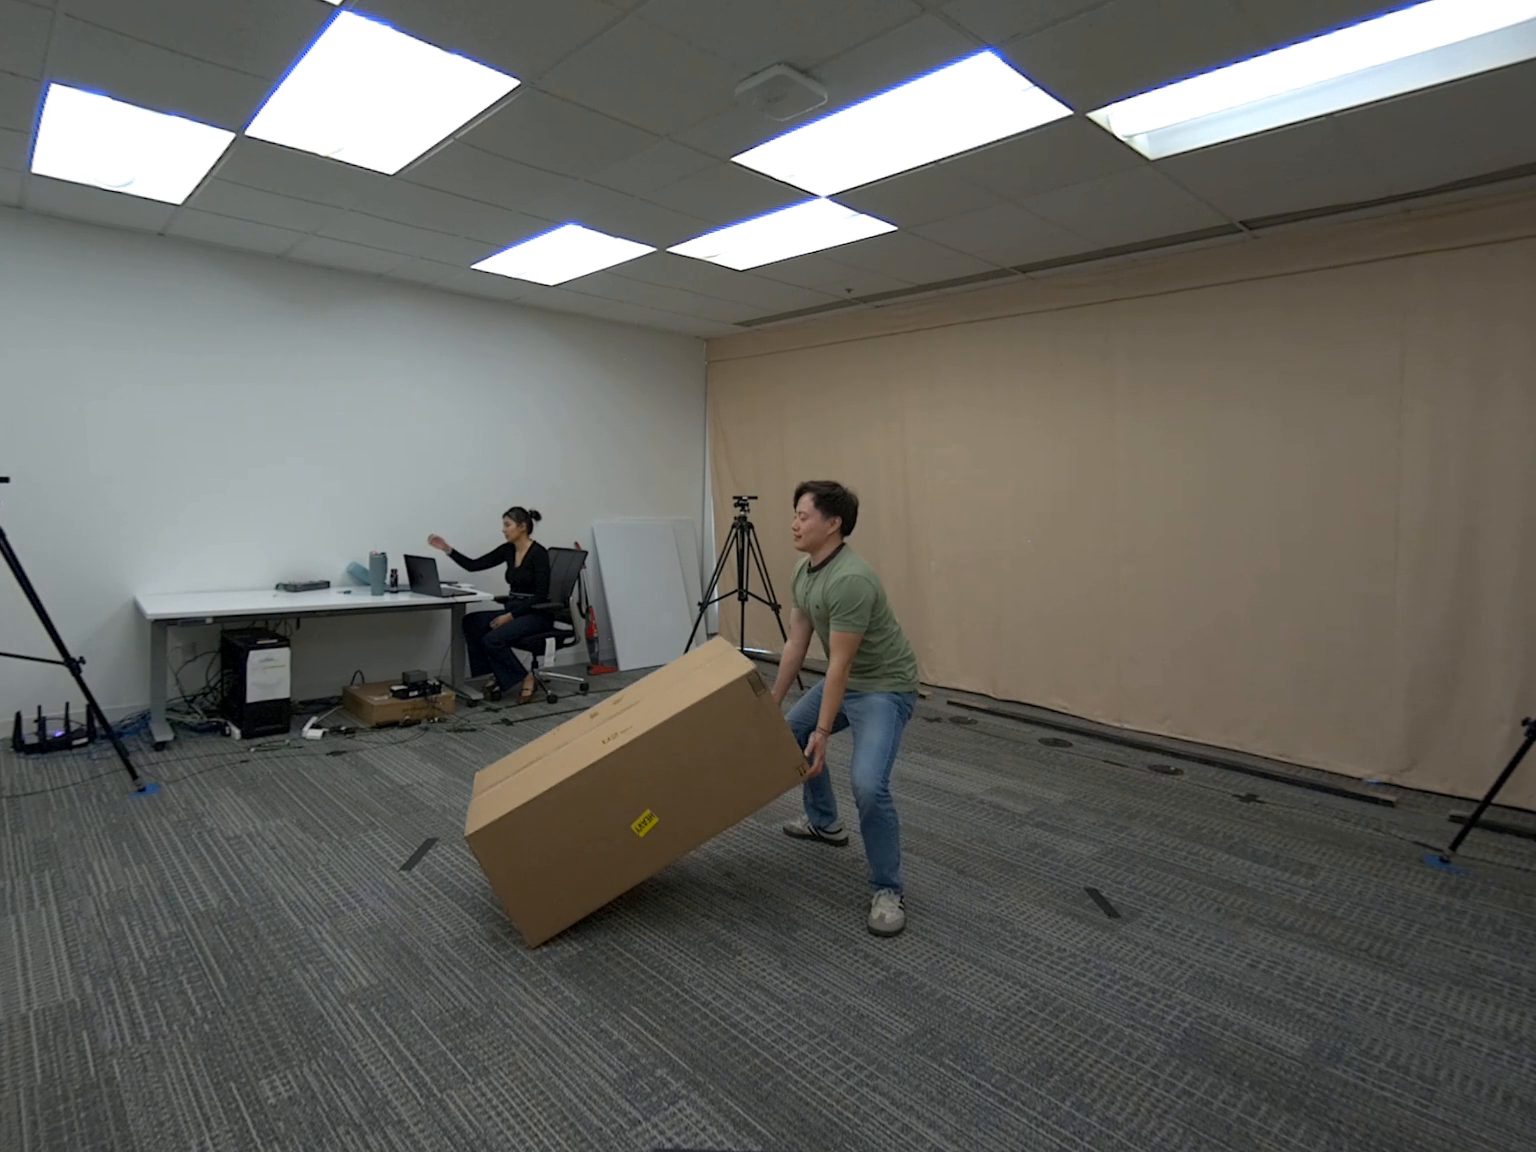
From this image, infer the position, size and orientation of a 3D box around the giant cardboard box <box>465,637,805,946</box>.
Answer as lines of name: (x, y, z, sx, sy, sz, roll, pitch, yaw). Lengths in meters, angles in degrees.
giant cardboard box: (-0.459, 0.685, 2.889, 1.022, 0.421, 0.586, -30, 12, -10)
